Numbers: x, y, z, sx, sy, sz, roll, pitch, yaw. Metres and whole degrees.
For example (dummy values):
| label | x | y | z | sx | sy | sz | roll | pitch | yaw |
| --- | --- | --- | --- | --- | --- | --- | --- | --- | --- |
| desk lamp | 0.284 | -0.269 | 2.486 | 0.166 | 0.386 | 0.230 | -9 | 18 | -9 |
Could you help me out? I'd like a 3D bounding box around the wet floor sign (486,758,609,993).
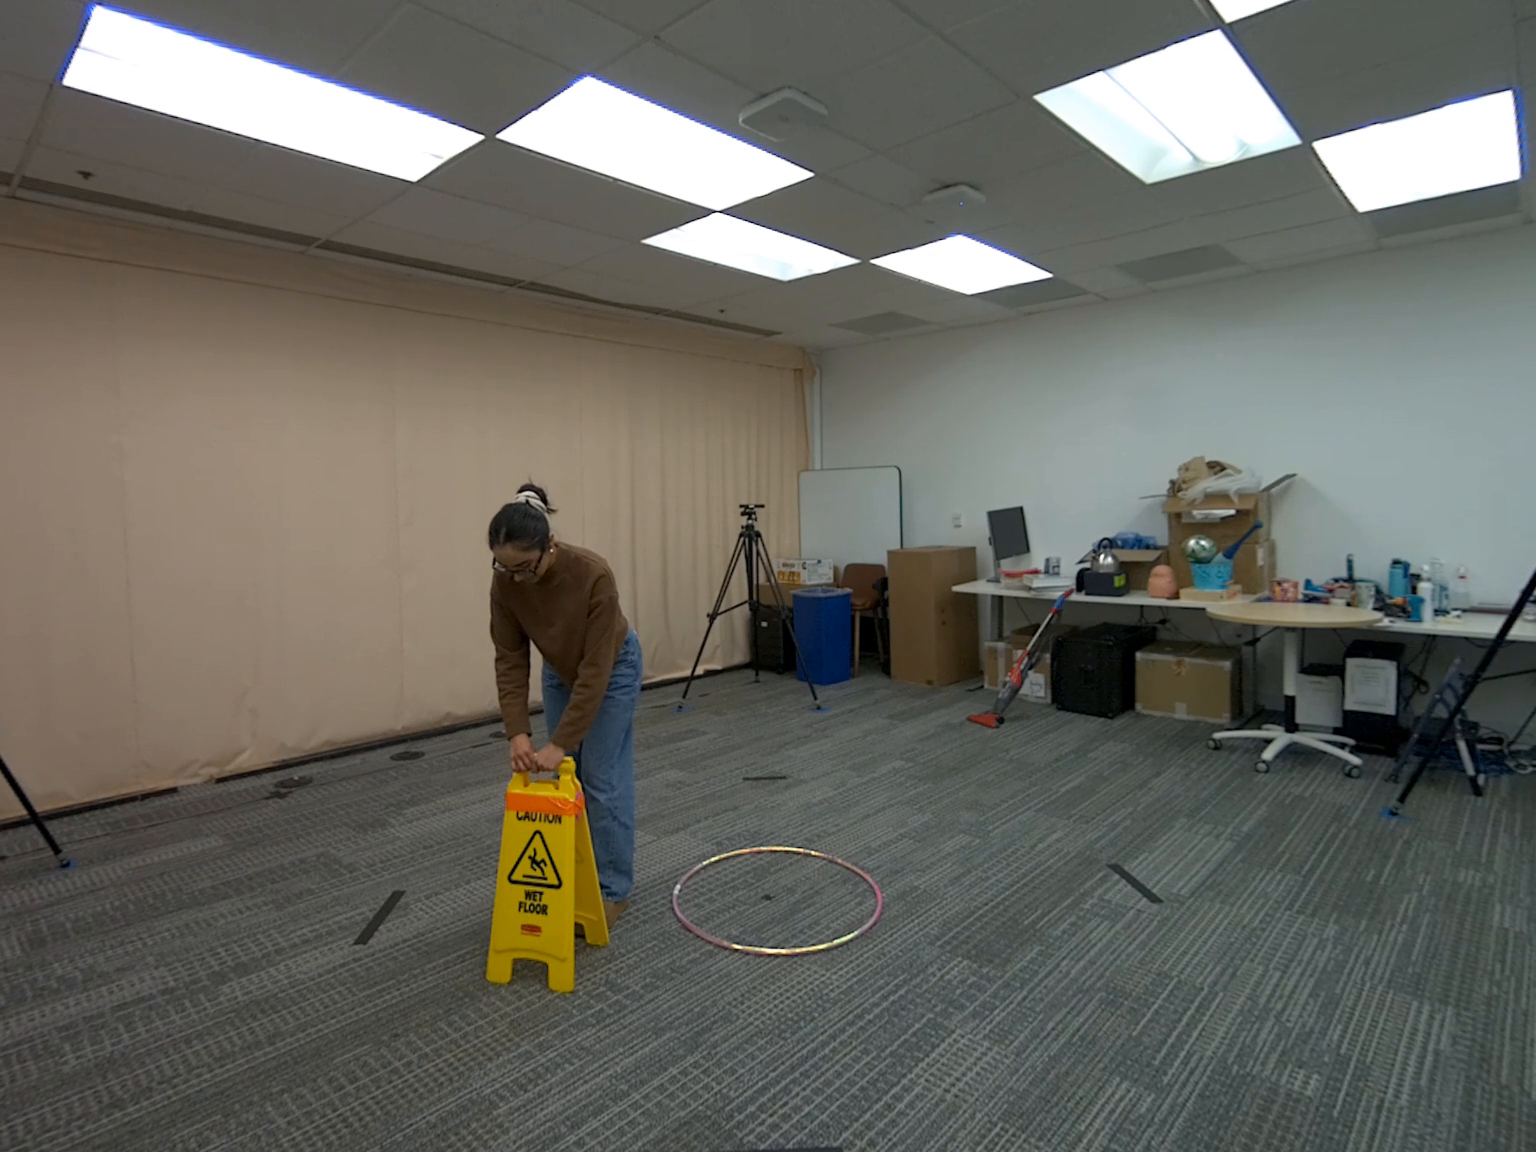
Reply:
| label | x | y | z | sx | sy | sz | roll | pitch | yaw |
| --- | --- | --- | --- | --- | --- | --- | --- | --- | --- |
| wet floor sign | -0.678 | 0.860 | 2.575 | 0.287 | 0.645 | 0.286 | -1 | 3 | 14 |
